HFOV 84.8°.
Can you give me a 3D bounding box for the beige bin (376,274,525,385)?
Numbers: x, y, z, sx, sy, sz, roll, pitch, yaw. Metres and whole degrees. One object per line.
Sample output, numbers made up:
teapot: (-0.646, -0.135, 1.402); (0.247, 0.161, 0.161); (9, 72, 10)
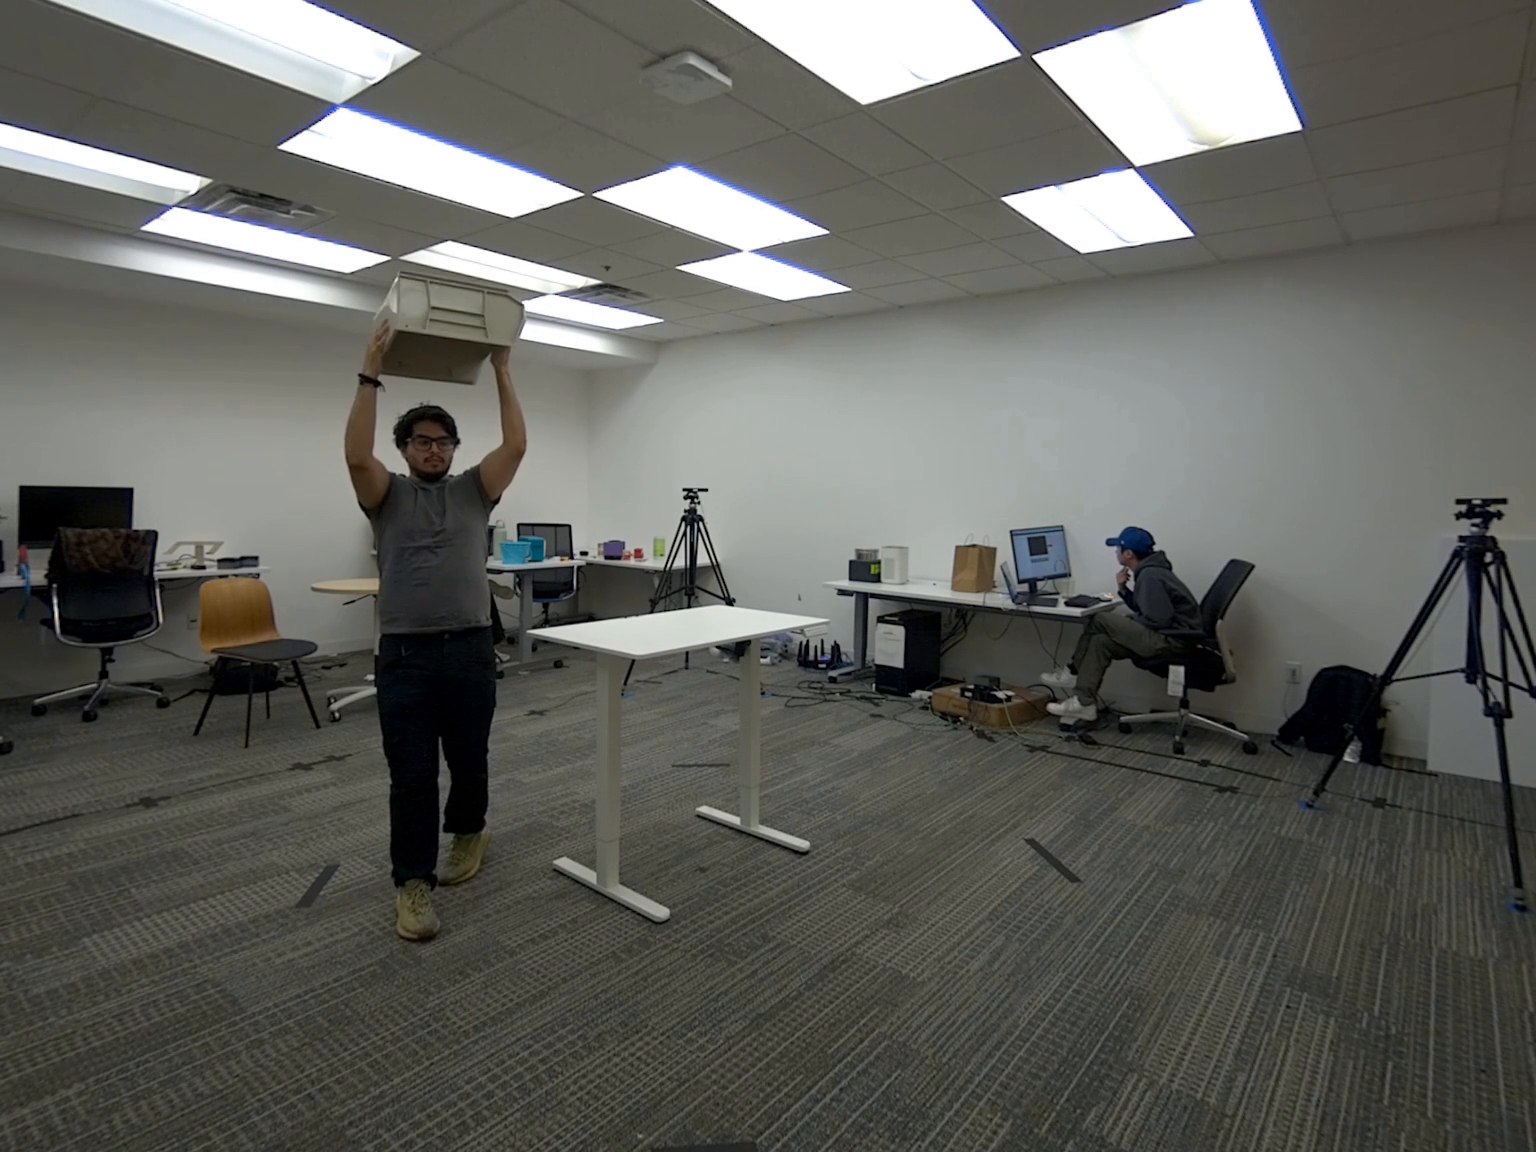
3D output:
beige bin: (-1.009, -0.750, 2.621); (0.366, 0.190, 0.432); (2, -6, -34)
